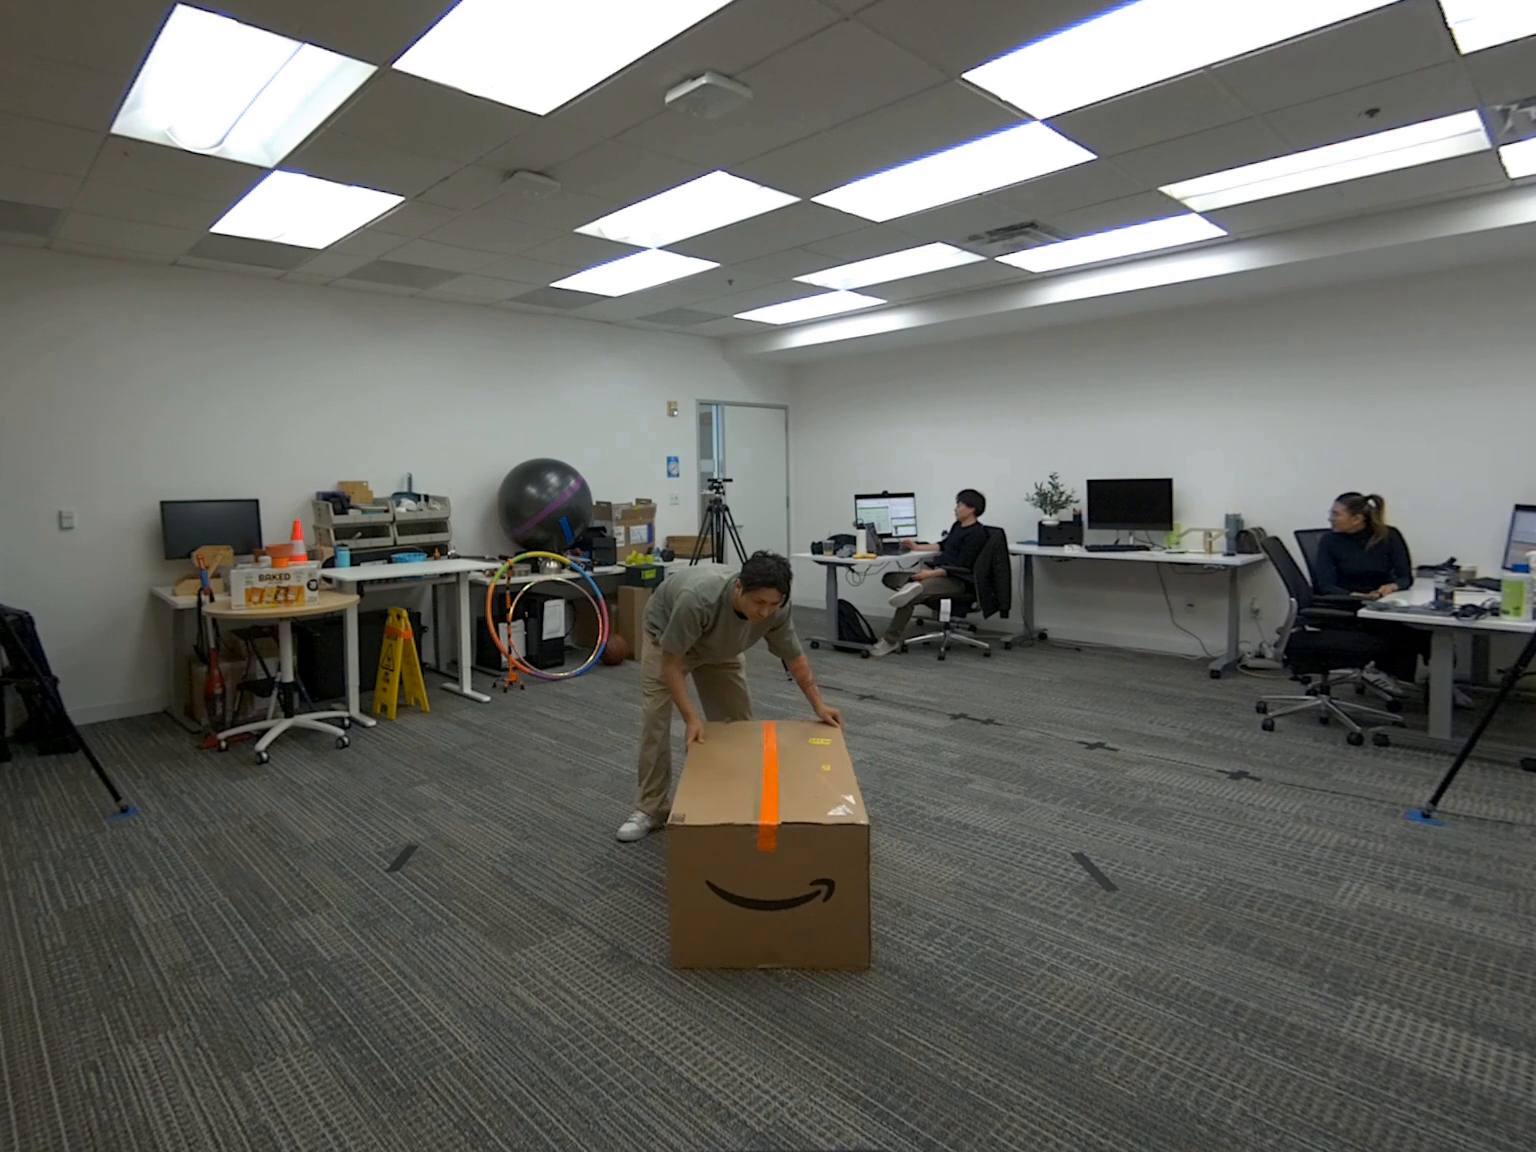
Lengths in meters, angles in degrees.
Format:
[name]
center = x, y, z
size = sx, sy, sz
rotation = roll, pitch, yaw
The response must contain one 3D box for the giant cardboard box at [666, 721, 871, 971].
[giant cardboard box]
center = 0.012, 0.848, 2.921
size = 0.578, 0.424, 1.028
rotation = -2, 5, 1
